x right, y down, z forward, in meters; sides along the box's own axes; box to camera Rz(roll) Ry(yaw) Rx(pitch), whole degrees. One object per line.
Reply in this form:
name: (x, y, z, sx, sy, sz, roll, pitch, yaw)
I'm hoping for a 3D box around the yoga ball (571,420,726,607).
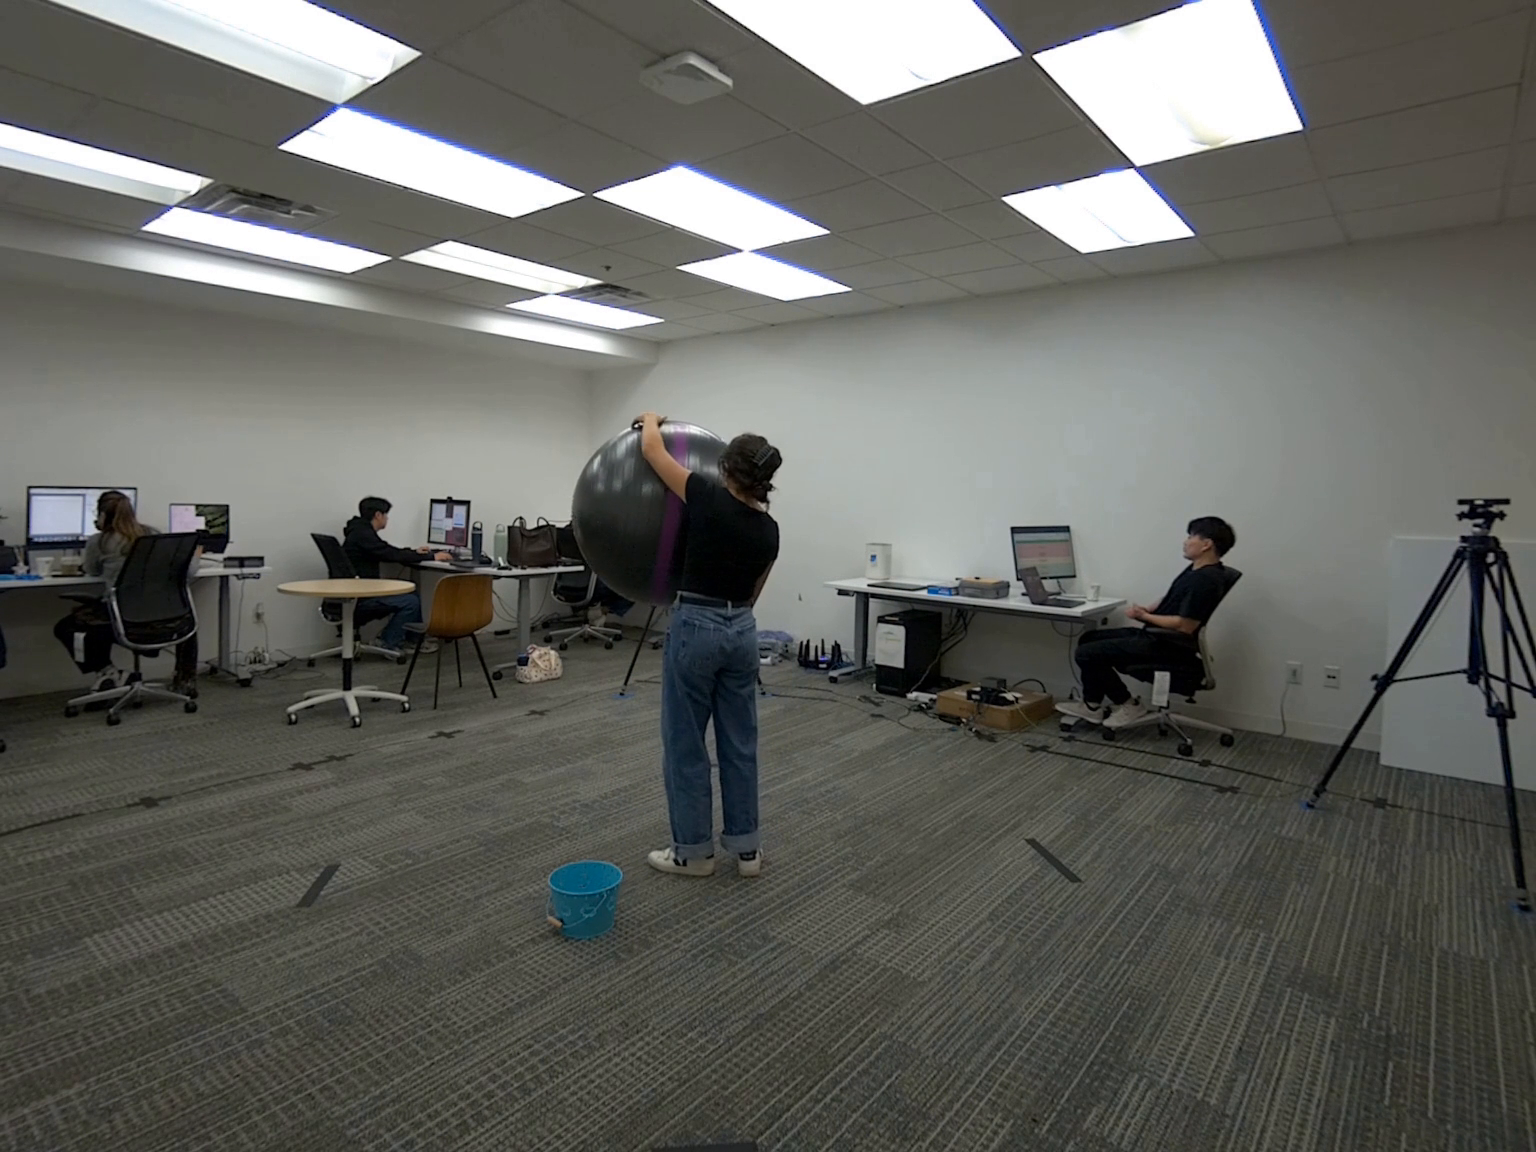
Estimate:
yoga ball: (-0.431, -0.255, 3.496, 0.757, 0.755, 0.762, 1, 4, -2)
